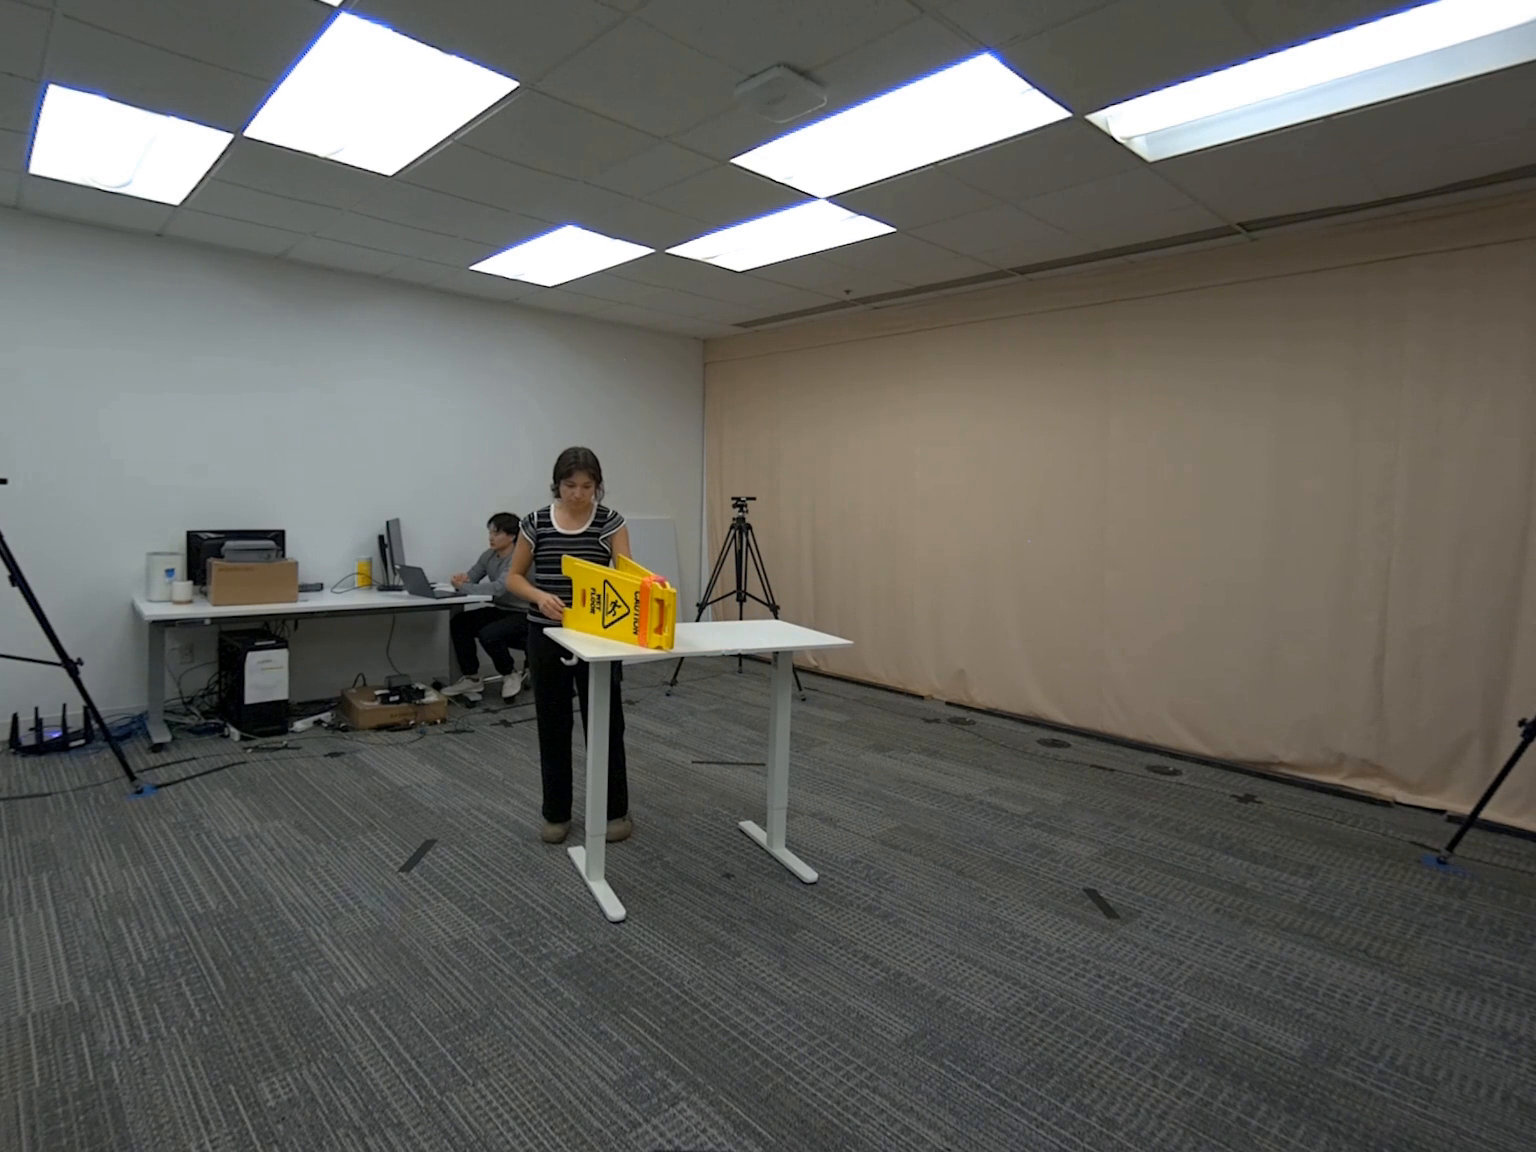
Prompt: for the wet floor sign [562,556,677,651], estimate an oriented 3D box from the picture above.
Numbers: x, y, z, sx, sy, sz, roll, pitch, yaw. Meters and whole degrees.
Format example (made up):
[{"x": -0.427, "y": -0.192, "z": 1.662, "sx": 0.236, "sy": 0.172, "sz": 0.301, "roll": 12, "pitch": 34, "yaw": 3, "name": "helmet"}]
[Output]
[{"x": -0.499, "y": 0.102, "z": 2.993, "sx": 0.283, "sy": 0.281, "sz": 0.663, "roll": -3, "pitch": 9, "yaw": -36, "name": "wet floor sign"}]
